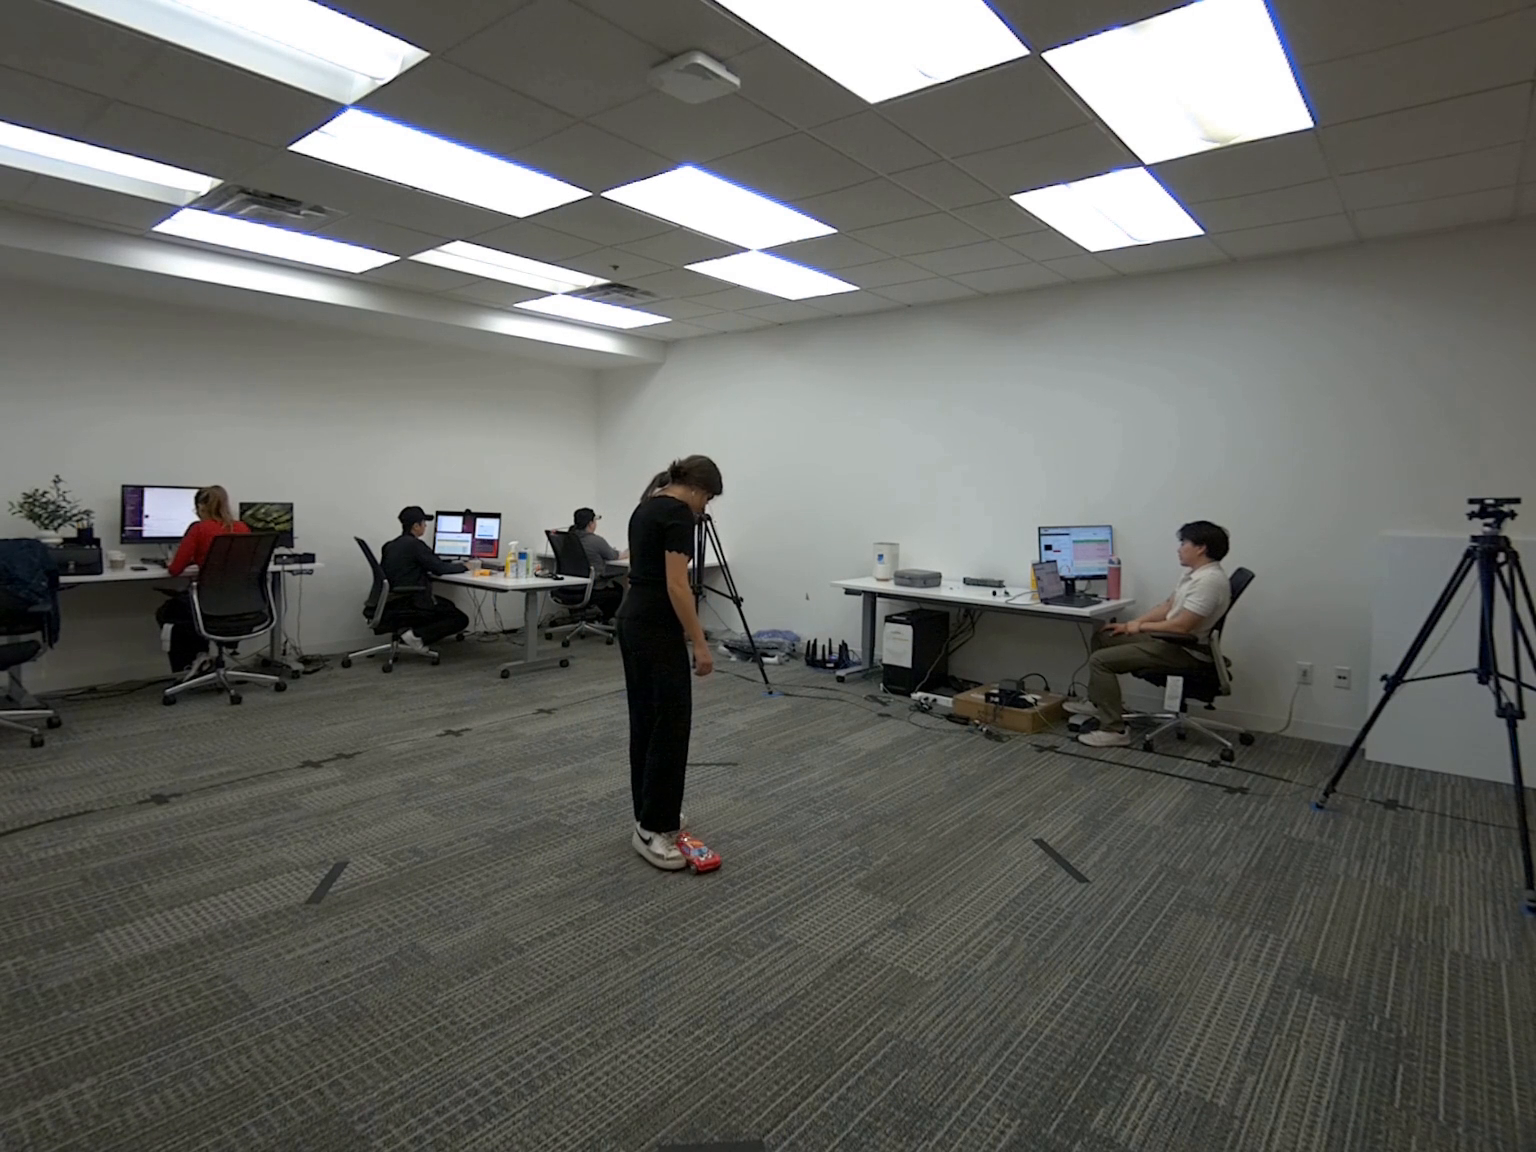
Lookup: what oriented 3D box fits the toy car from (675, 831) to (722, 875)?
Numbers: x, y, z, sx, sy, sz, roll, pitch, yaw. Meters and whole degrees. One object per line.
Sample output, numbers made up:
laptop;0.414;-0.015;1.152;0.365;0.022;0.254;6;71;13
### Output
toy car;-0.283;1.026;3.170;0.127;0.082;0.264;-2;16;-31
